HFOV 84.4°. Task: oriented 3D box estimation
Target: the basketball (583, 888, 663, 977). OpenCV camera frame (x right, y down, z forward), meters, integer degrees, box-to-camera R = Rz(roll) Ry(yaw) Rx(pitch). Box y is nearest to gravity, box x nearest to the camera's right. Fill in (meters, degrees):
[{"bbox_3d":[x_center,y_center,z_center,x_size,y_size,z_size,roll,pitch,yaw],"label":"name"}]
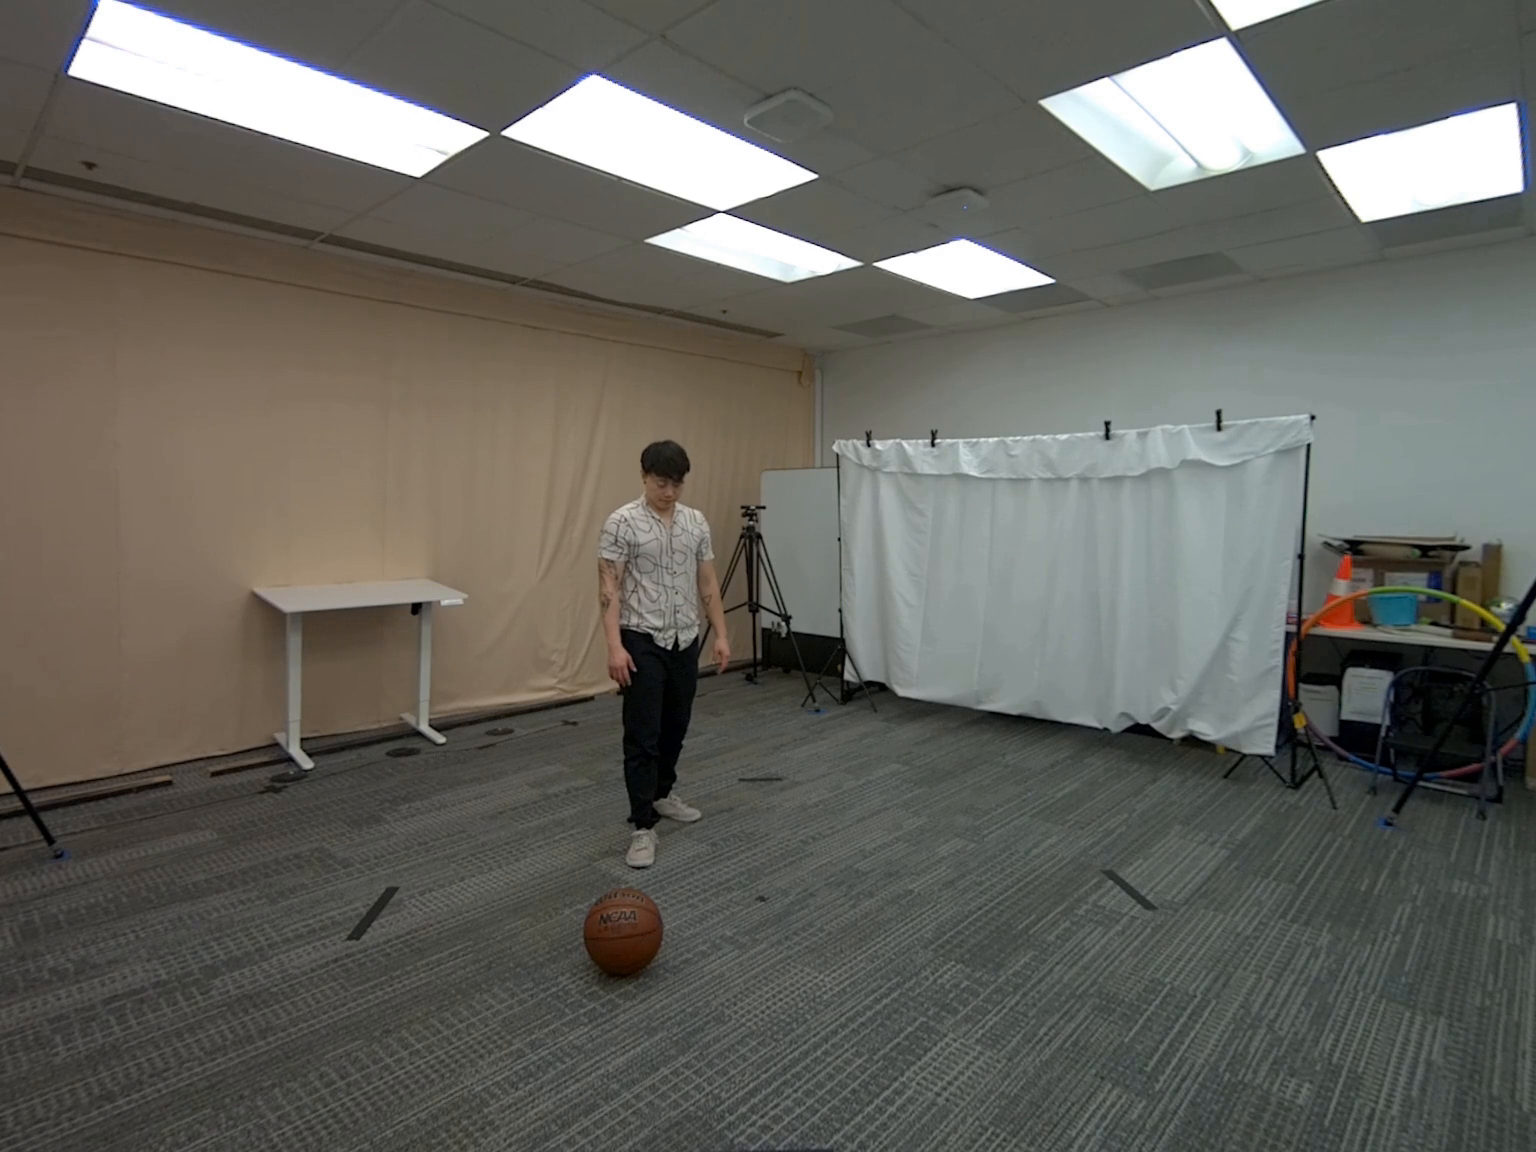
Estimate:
[{"bbox_3d":[-0.428,1.064,2.521,0.236,0.235,0.237,0,4,-2],"label":"basketball"}]
